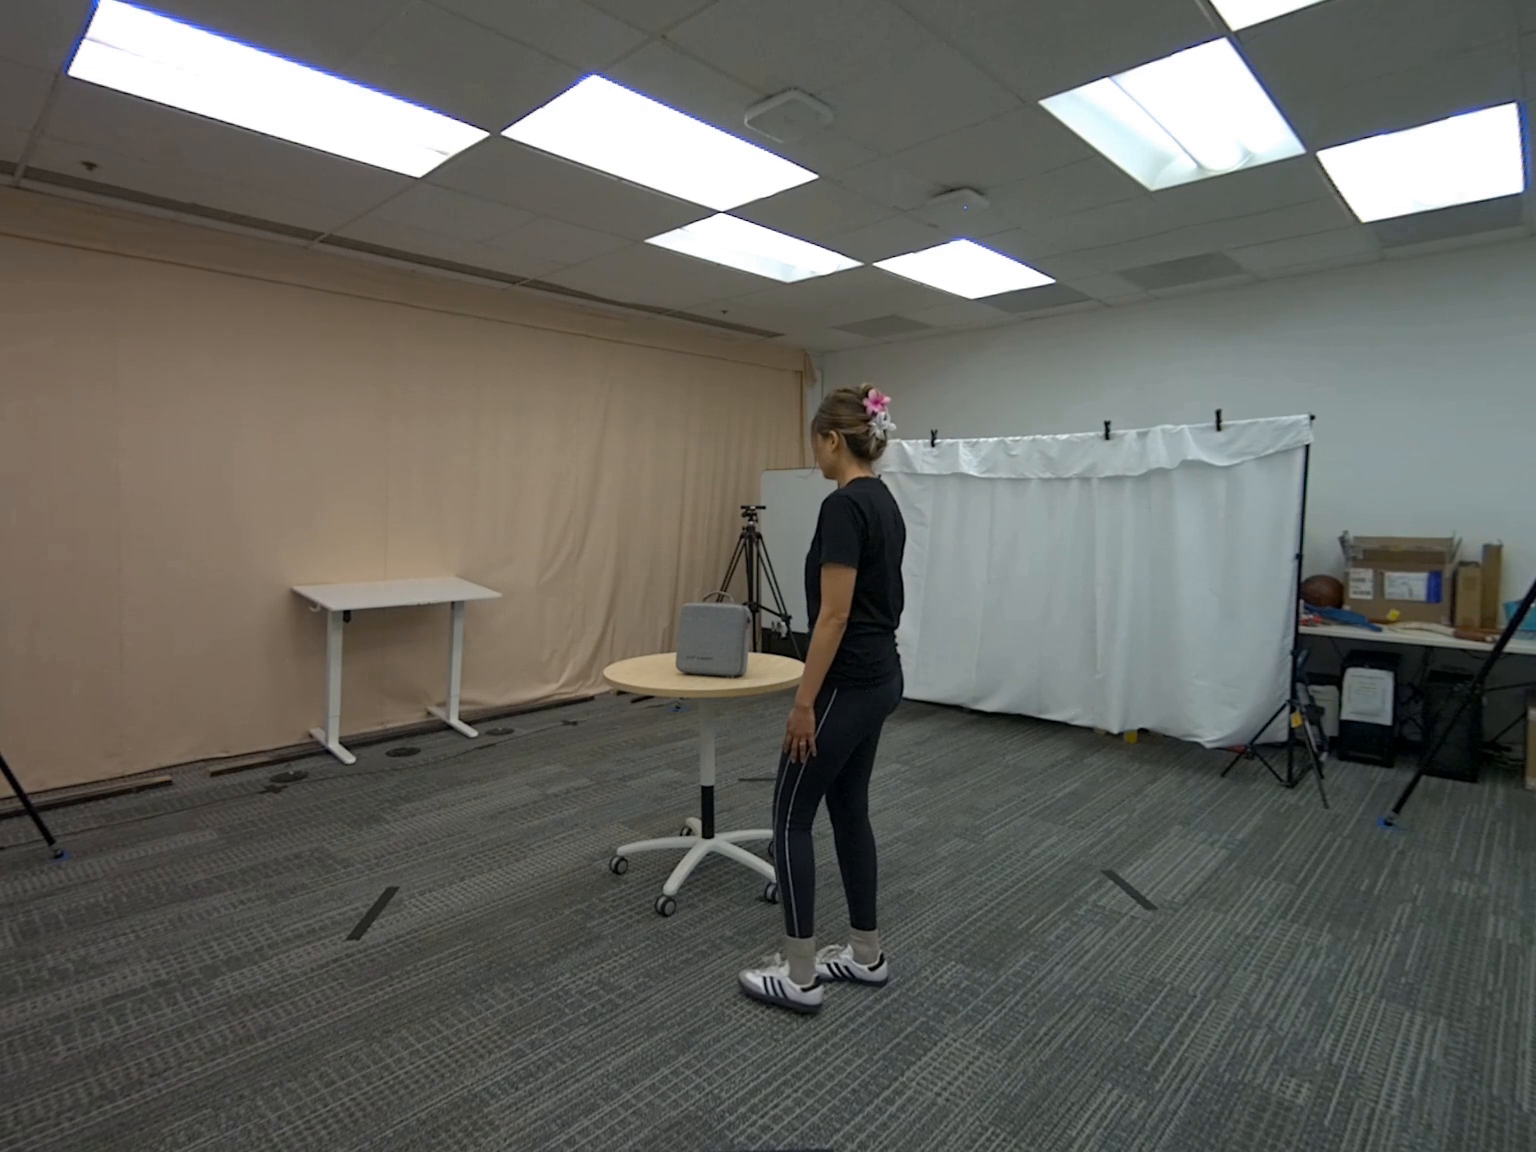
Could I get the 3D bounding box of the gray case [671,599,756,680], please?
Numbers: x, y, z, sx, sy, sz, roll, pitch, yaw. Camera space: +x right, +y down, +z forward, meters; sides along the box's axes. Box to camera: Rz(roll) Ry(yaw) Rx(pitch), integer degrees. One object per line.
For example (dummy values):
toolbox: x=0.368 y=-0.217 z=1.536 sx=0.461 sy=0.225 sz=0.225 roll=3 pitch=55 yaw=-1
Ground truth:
gray case: x=-0.196 y=0.224 z=3.035 sx=0.263 sy=0.261 sz=0.101 roll=2 pitch=-8 yaw=23
